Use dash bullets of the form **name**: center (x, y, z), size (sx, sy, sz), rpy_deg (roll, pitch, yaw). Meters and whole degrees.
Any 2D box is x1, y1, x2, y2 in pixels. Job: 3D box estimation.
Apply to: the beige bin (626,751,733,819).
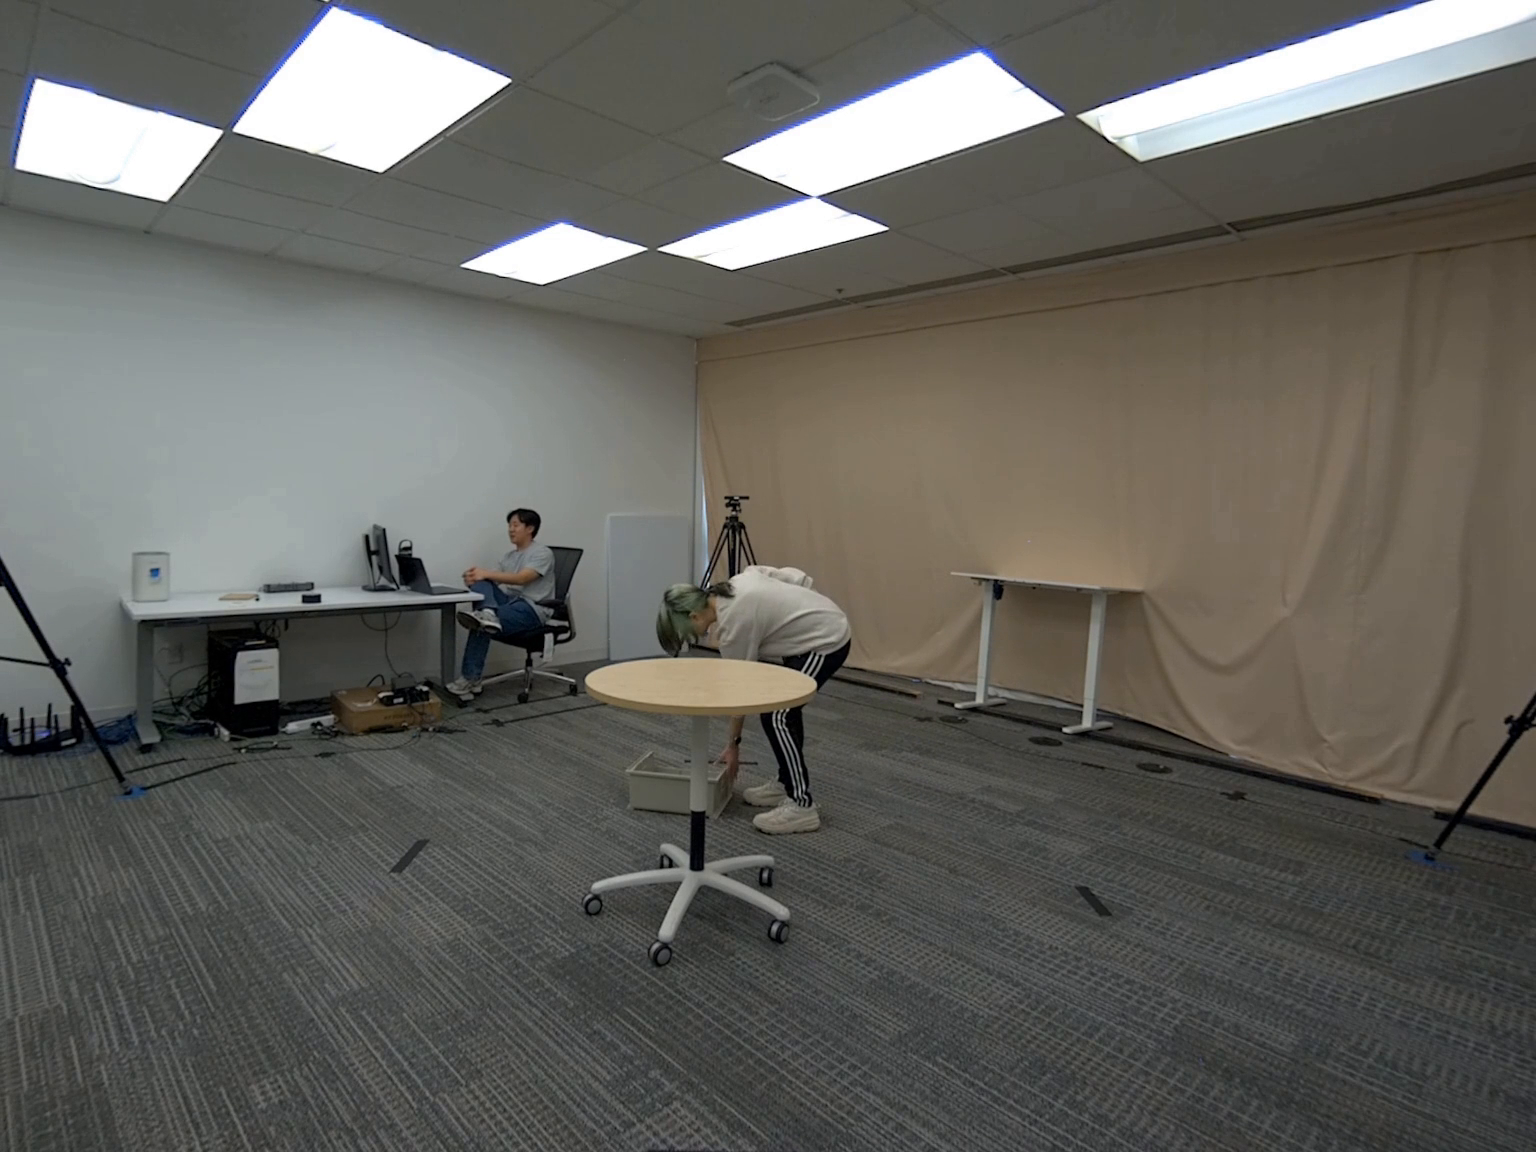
- **beige bin**: center (-0.398, 0.934, 3.858), size (0.427, 0.188, 0.375), rpy_deg (3, 7, 12)
